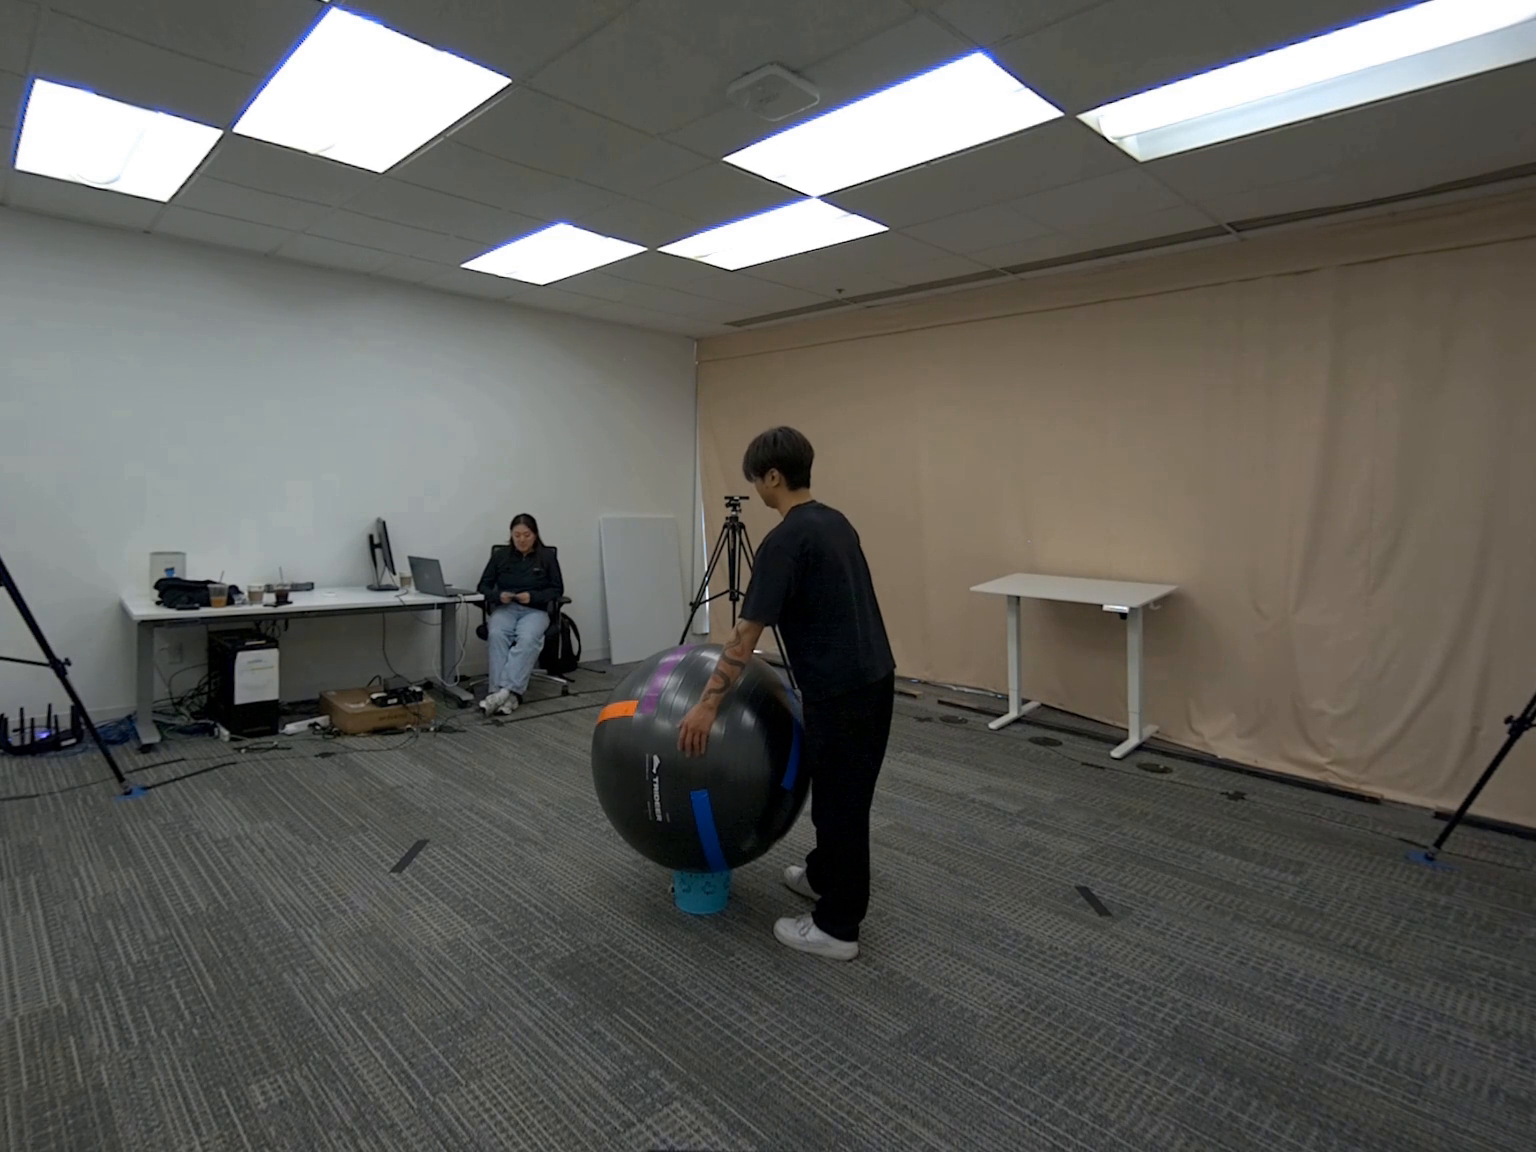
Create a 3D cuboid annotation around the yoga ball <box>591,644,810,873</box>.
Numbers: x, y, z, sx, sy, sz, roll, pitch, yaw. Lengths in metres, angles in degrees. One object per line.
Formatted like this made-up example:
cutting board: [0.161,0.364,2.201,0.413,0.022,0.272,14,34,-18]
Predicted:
yoga ball: [-0.232,0.612,2.872,0.757,0.756,0.761,1,4,-1]
